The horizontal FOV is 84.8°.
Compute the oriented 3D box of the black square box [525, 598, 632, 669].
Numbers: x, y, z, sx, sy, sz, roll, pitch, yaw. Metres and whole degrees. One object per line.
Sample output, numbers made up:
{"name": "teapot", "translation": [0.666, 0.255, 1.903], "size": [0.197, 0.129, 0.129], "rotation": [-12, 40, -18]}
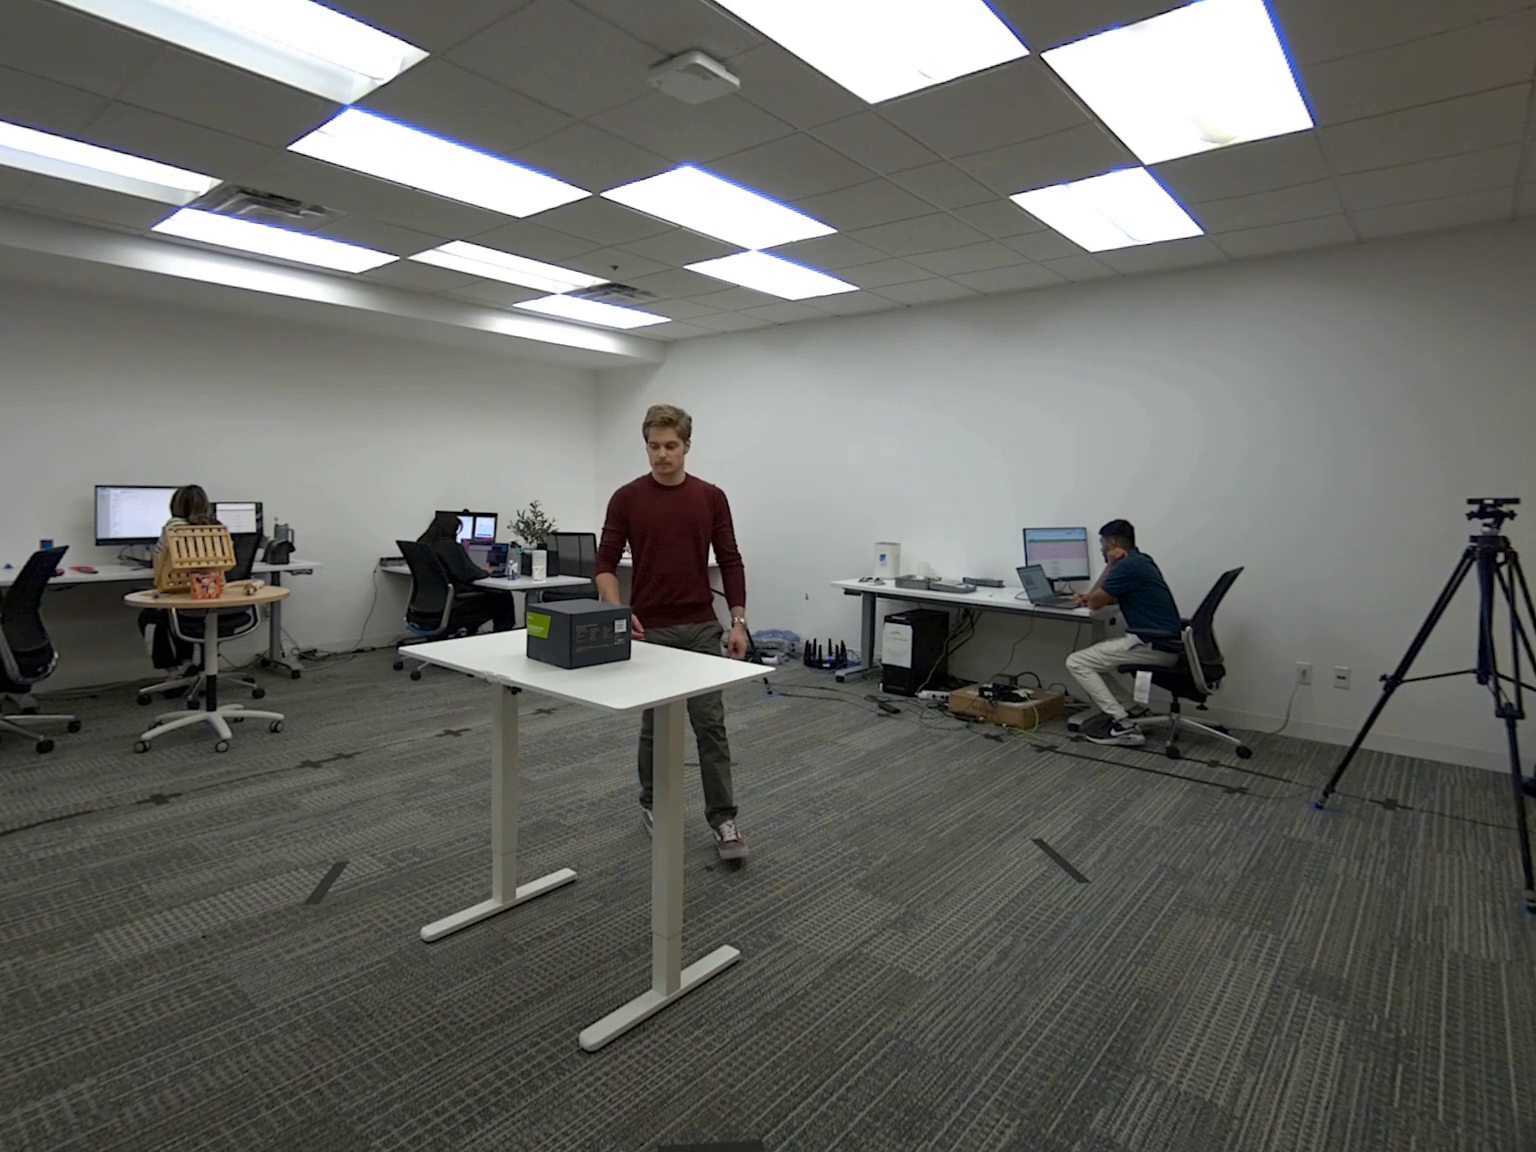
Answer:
{"name": "black square box", "translation": [-0.560, 0.160, 2.489], "size": [0.236, 0.155, 0.210], "rotation": [6, 8, 44]}
